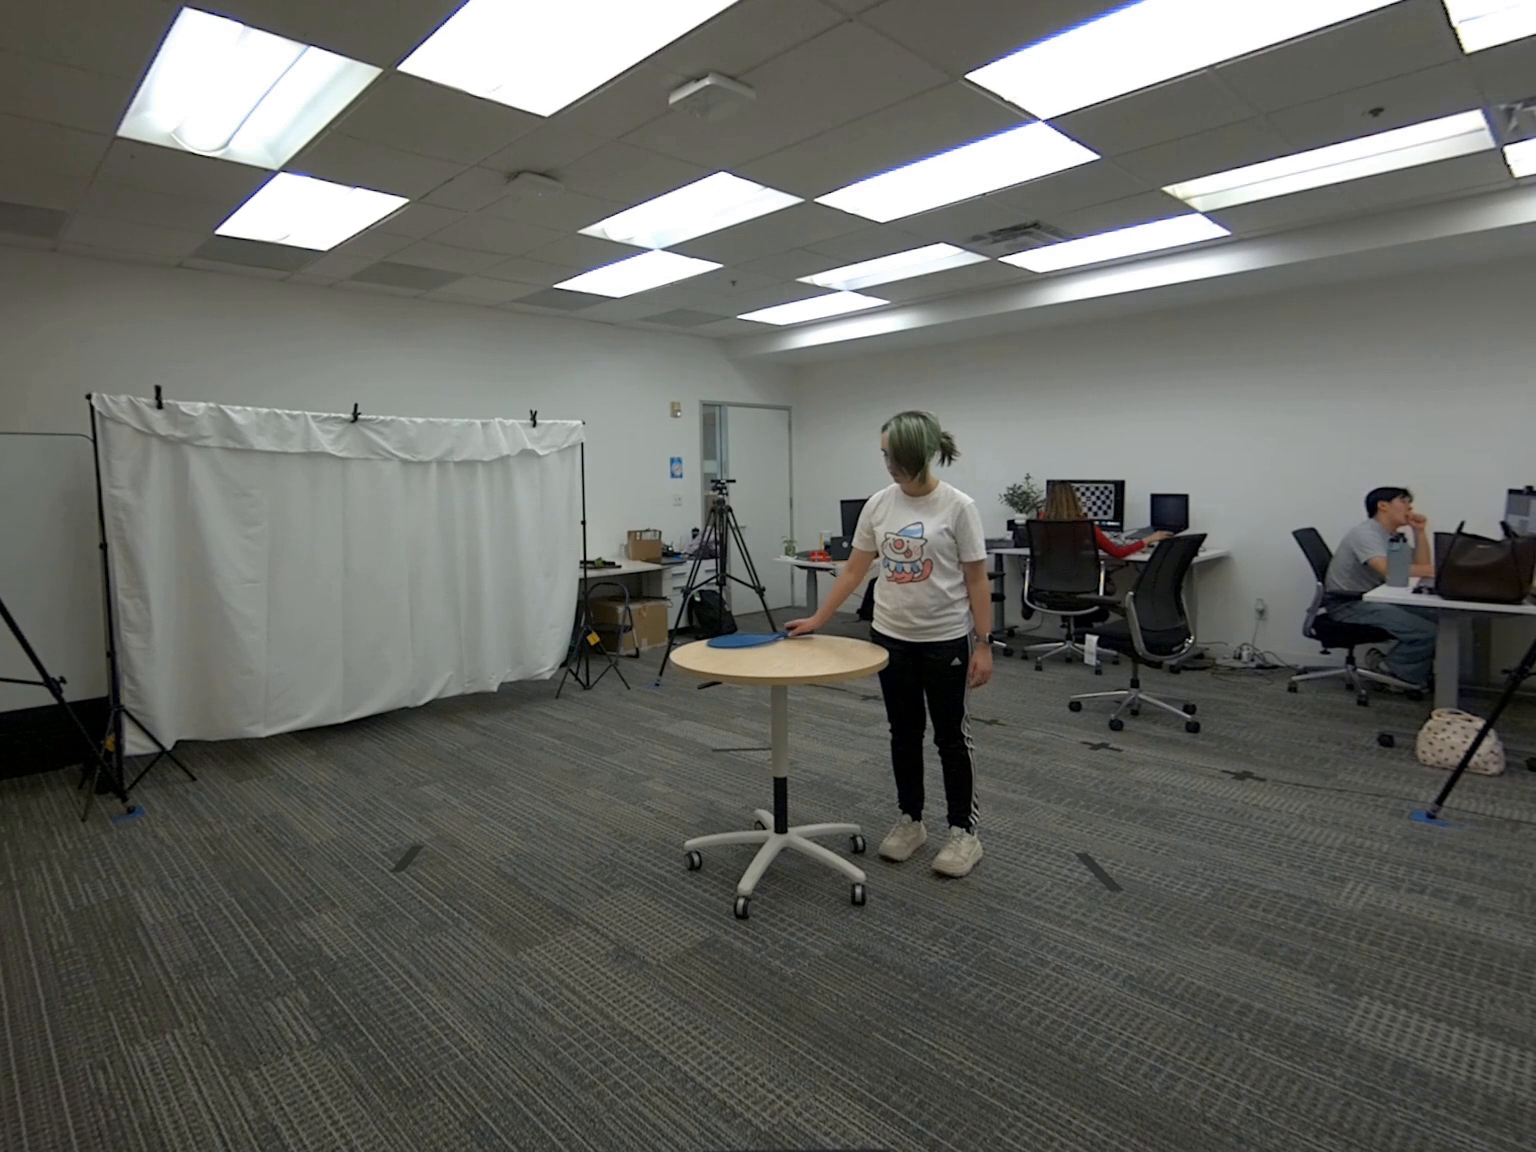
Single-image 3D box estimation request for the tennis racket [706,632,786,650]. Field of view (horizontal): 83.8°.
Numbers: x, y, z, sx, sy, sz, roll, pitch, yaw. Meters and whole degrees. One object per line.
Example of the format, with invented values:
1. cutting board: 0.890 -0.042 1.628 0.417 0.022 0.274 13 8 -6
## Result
1. tennis racket: -0.020 0.235 3.239 0.425 0.031 0.219 -7 8 -22
